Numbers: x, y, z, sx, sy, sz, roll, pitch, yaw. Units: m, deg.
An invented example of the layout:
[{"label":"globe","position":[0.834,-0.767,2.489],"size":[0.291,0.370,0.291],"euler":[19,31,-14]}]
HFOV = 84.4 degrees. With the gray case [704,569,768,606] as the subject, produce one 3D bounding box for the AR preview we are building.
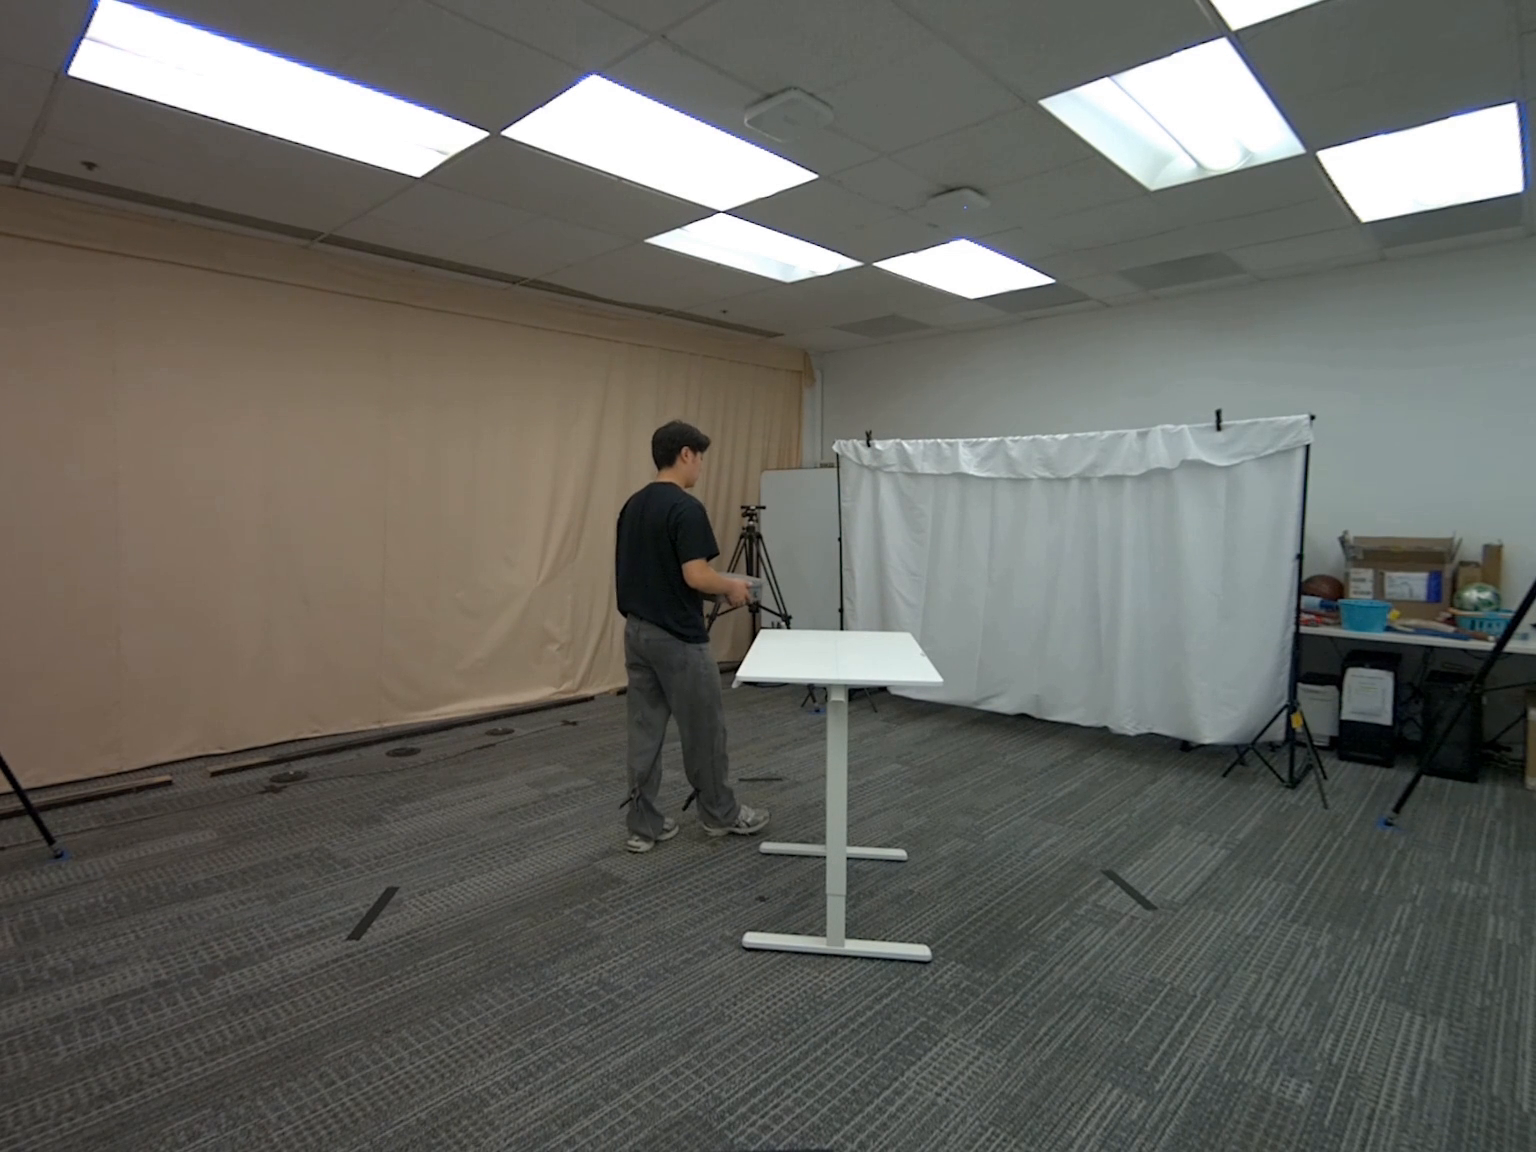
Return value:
[{"label":"gray case","position":[-0.199,0.042,3.602],"size":[0.255,0.103,0.297],"euler":[-2,8,-35]}]
